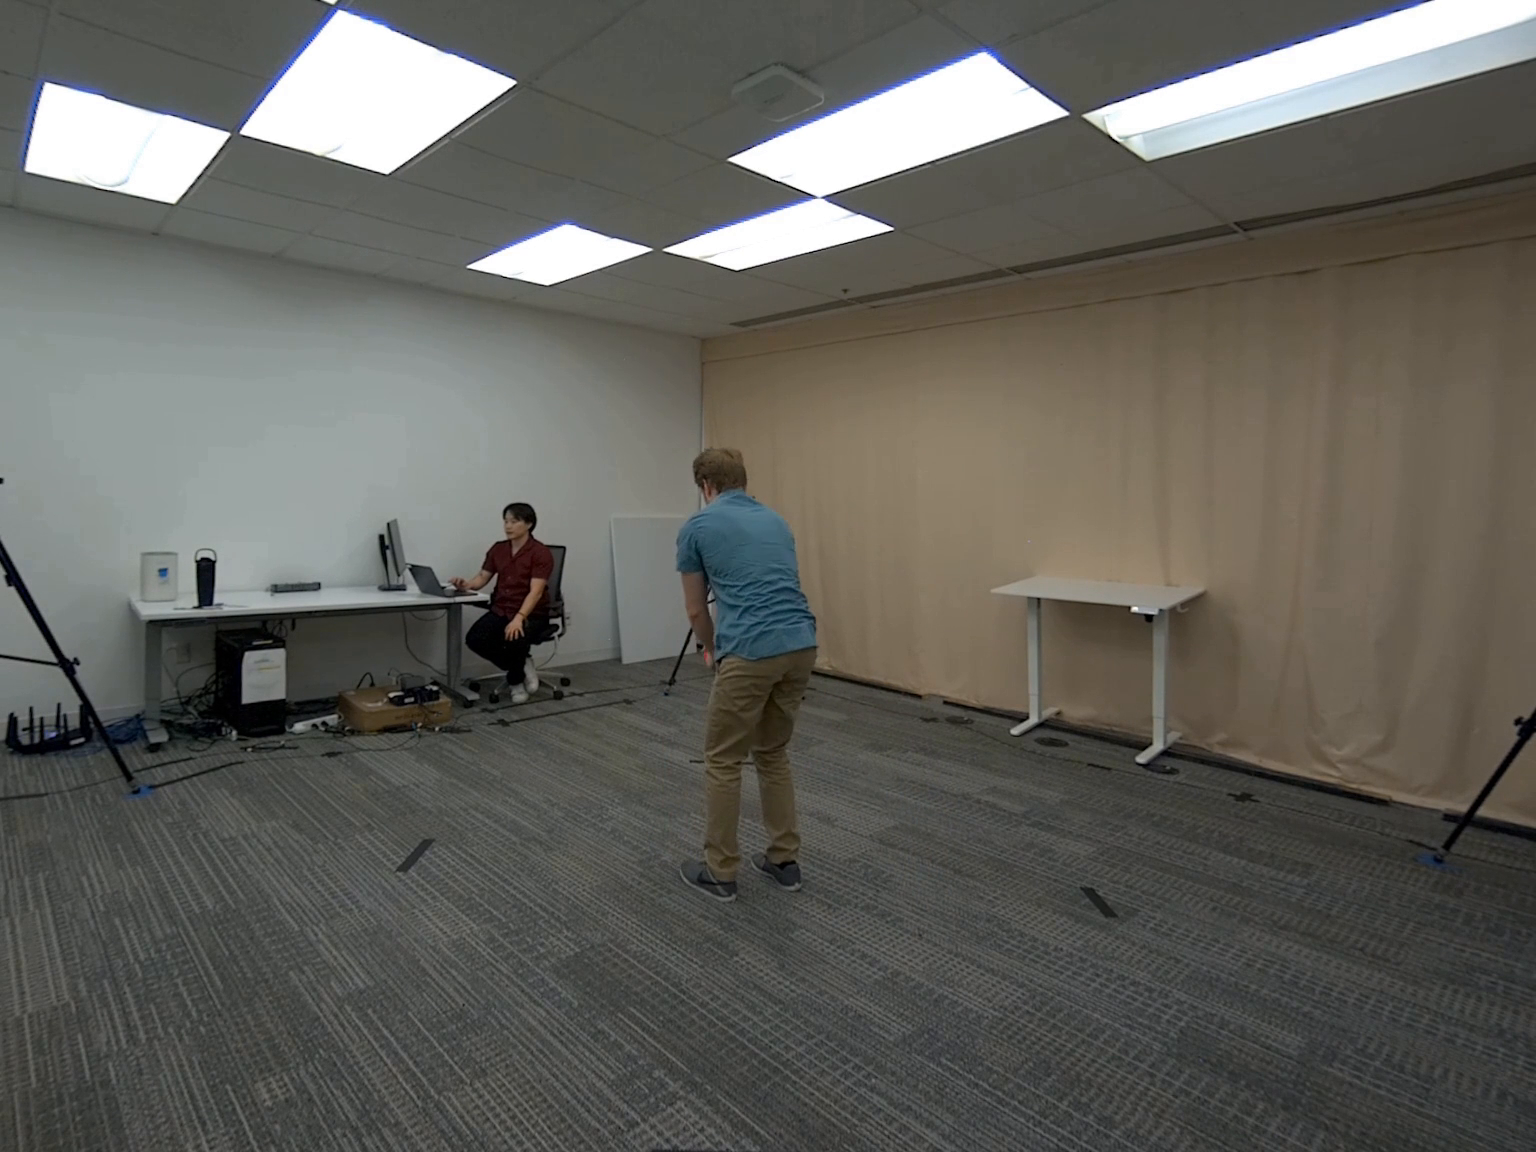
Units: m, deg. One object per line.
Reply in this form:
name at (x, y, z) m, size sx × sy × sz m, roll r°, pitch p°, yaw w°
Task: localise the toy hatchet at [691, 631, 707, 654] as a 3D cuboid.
toy hatchet at (-0.242, 0.333, 3.414) m, size 0.029 × 0.130 × 0.275 m, roll 18°, pitch 20°, yaw -12°
